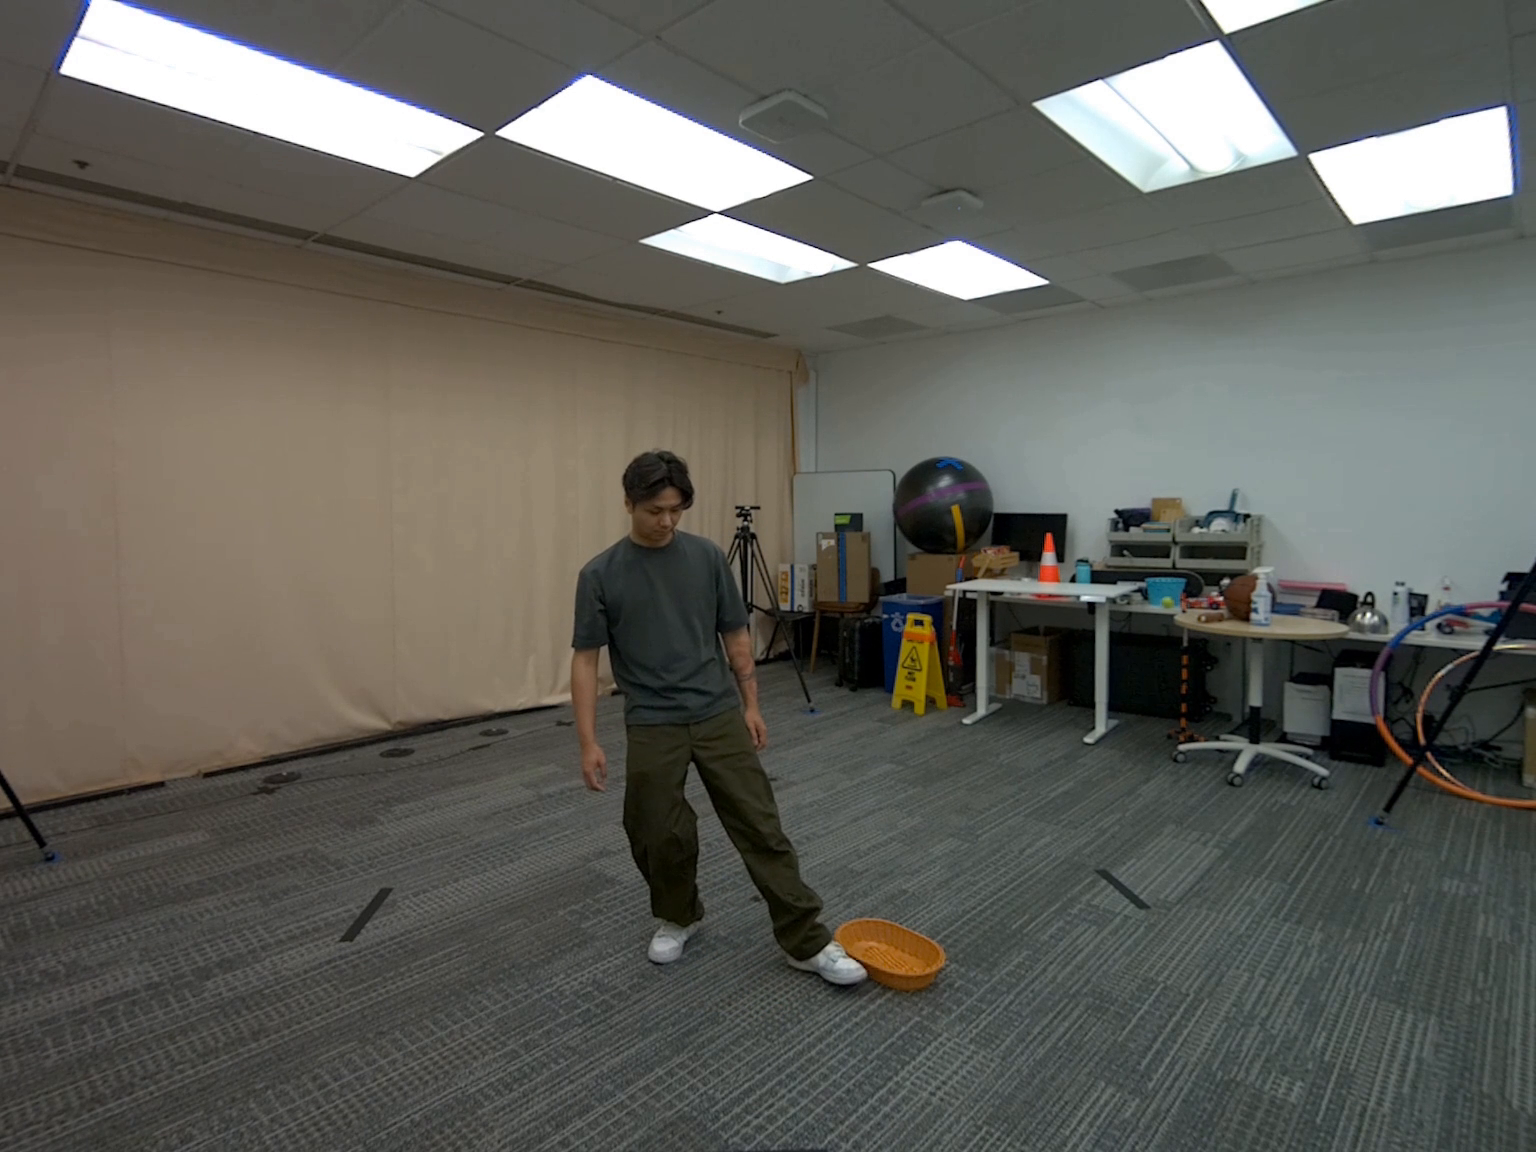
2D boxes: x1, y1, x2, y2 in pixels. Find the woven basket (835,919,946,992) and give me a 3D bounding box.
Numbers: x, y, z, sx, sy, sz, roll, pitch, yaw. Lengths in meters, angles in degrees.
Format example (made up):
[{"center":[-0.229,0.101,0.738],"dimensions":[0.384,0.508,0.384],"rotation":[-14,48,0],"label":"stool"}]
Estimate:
[{"center":[0.367,1.144,2.534],"dimensions":[0.245,0.073,0.362],"rotation":[-5,7,-43],"label":"woven basket"}]
